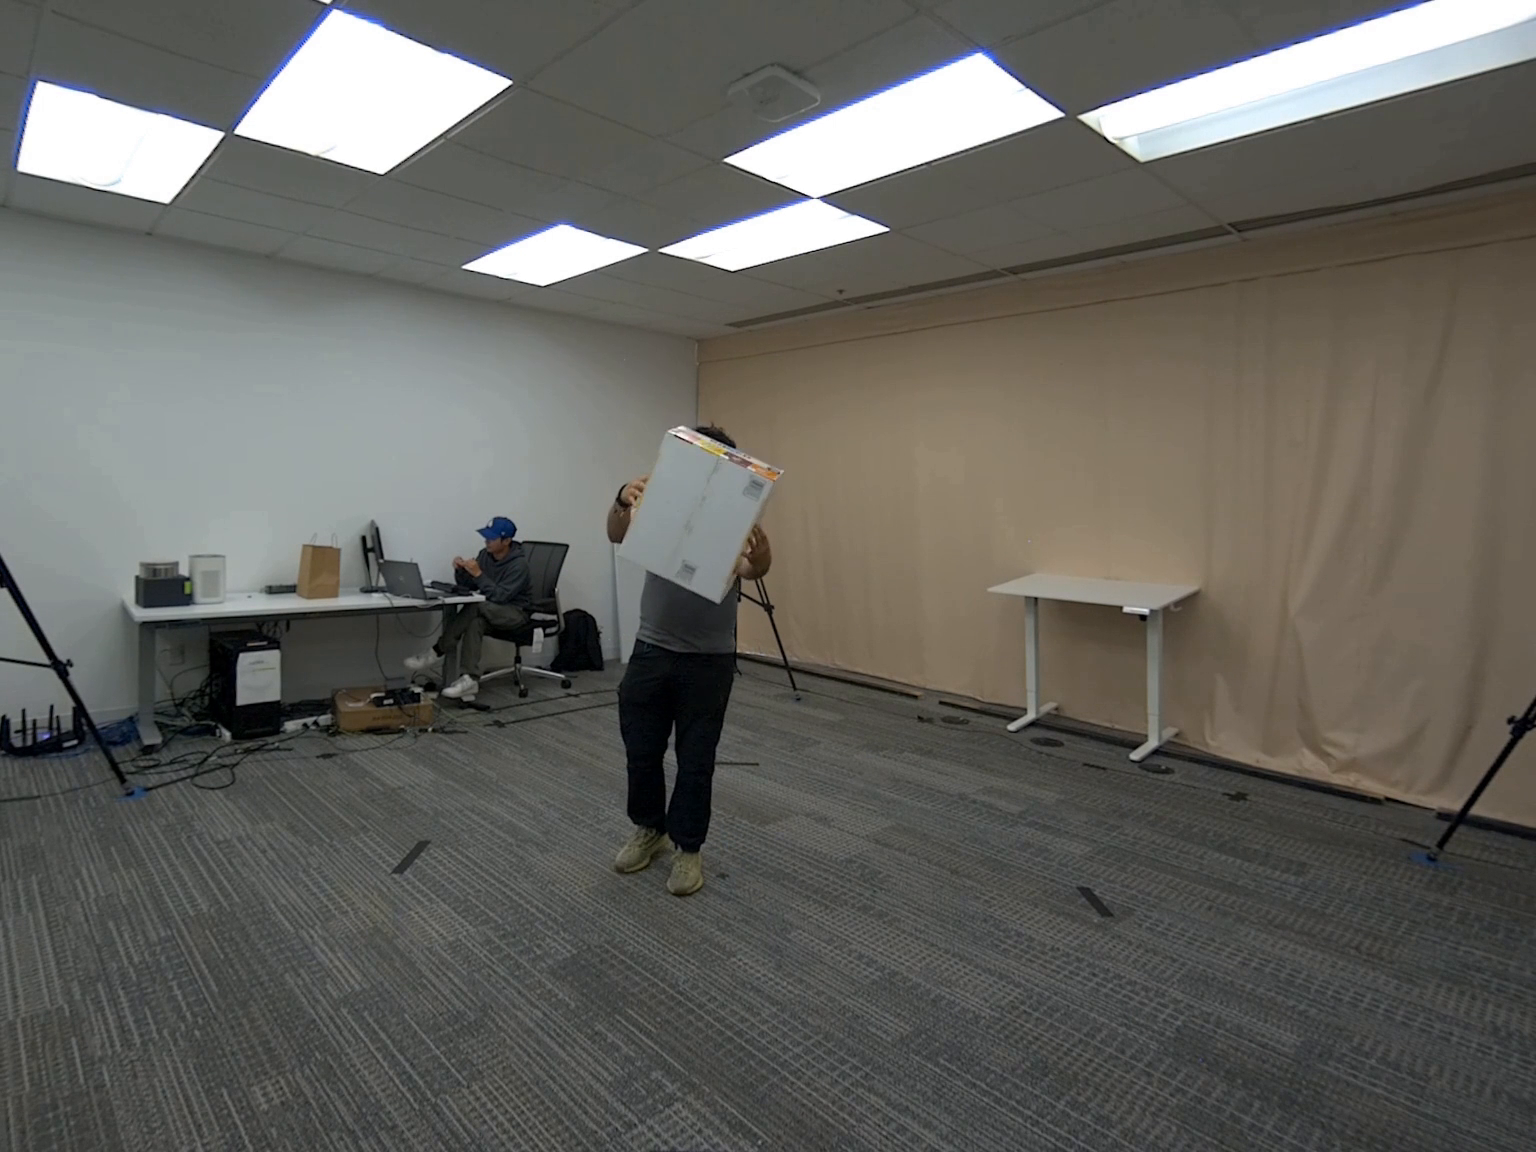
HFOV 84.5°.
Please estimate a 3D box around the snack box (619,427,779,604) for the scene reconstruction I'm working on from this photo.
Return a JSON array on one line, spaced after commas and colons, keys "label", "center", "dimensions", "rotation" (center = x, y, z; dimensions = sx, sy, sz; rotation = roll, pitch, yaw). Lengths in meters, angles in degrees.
[{"label": "snack box", "center": [-0.211, -0.188, 2.497], "dimensions": [0.342, 0.403, 0.206], "rotation": [26, 16, 4]}]
